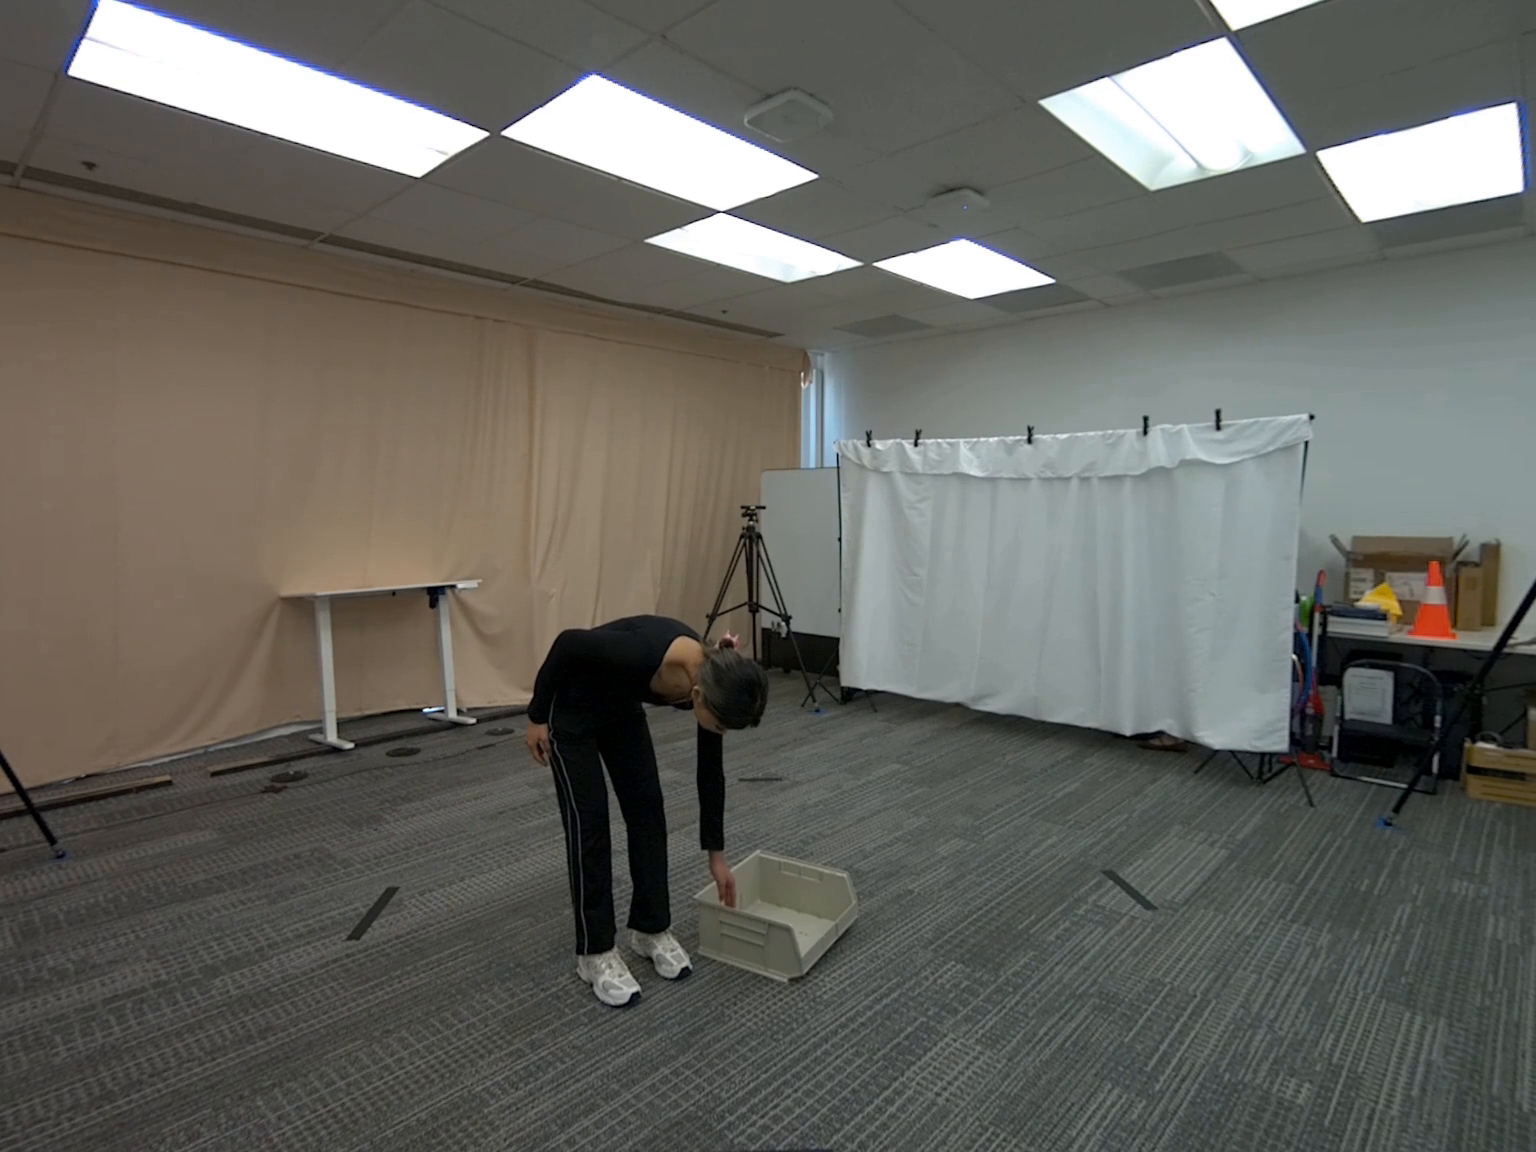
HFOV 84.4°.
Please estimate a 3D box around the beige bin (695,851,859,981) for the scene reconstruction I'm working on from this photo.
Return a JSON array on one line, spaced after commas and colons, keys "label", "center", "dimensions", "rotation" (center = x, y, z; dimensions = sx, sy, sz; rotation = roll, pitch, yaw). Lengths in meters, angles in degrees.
[{"label": "beige bin", "center": [0.034, 1.082, 2.696], "dimensions": [0.388, 0.188, 0.411], "rotation": [2, 5, 30]}]
